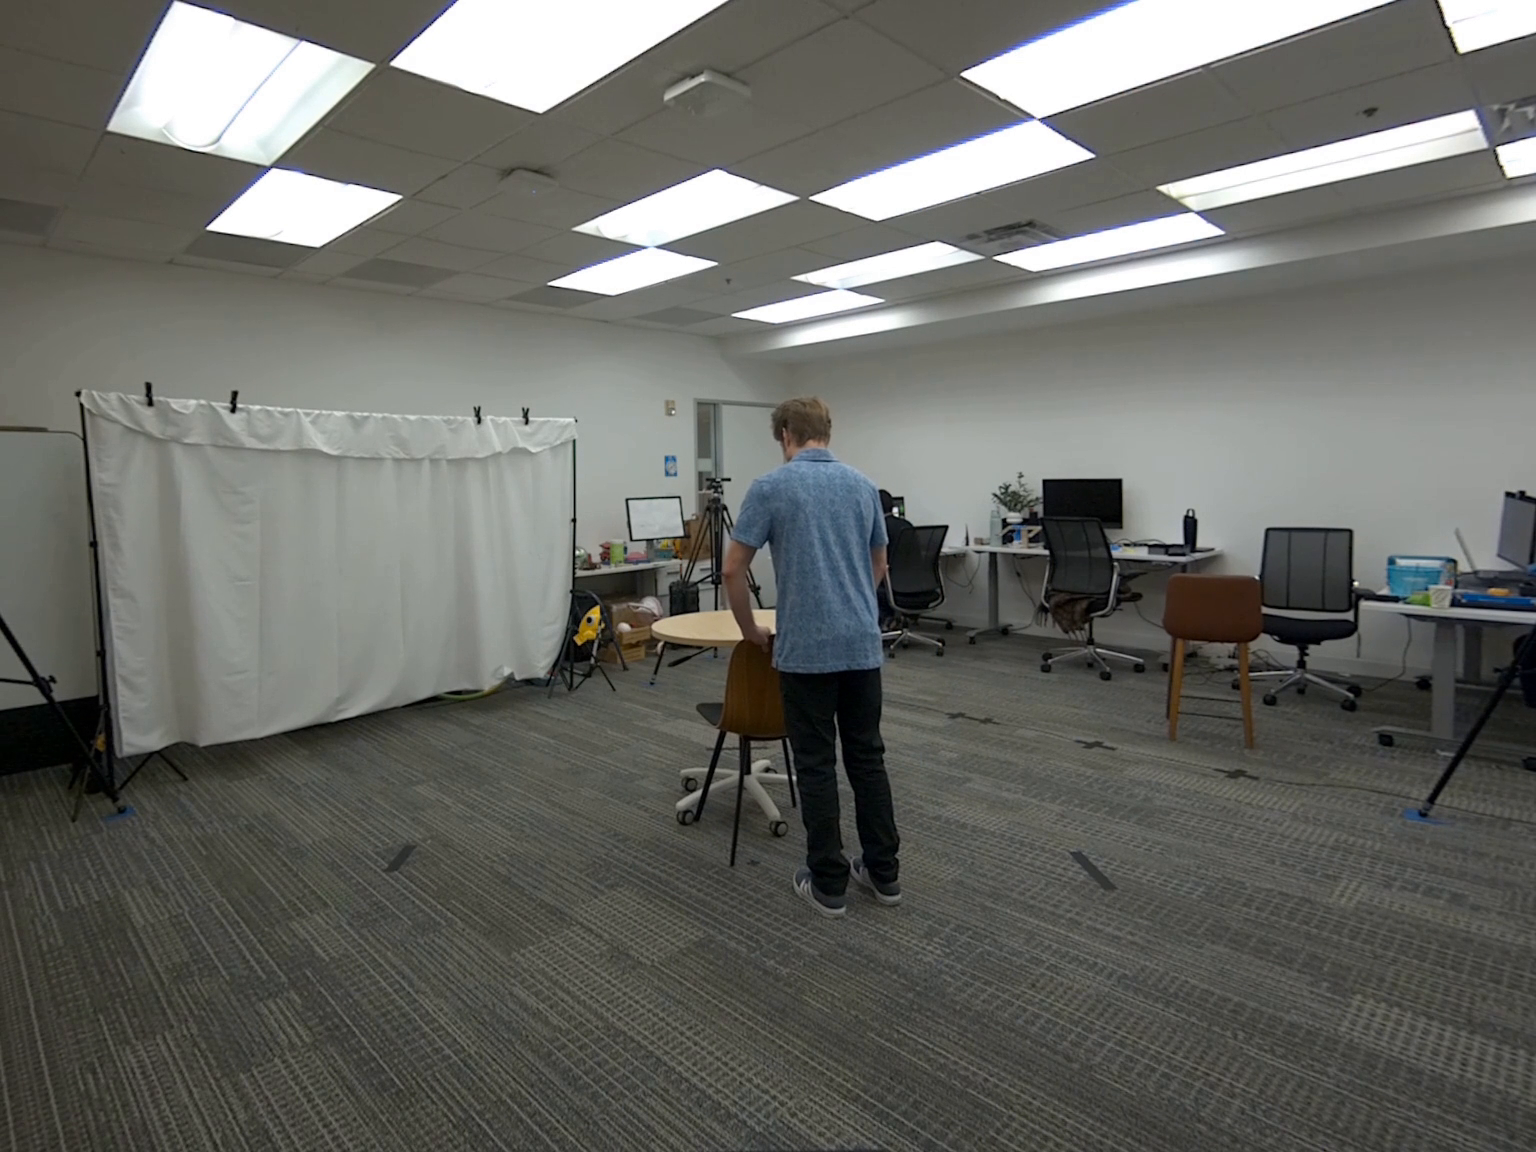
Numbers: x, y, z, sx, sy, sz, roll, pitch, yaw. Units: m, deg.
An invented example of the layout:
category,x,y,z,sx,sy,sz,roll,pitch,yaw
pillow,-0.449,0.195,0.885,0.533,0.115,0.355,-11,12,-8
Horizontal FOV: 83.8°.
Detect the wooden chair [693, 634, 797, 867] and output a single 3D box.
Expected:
category,x,y,z,sx,sy,sz,roll,pitch,yaw
wooden chair,-0.013,0.588,3.328,0.470,0.872,0.536,-2,8,-20
